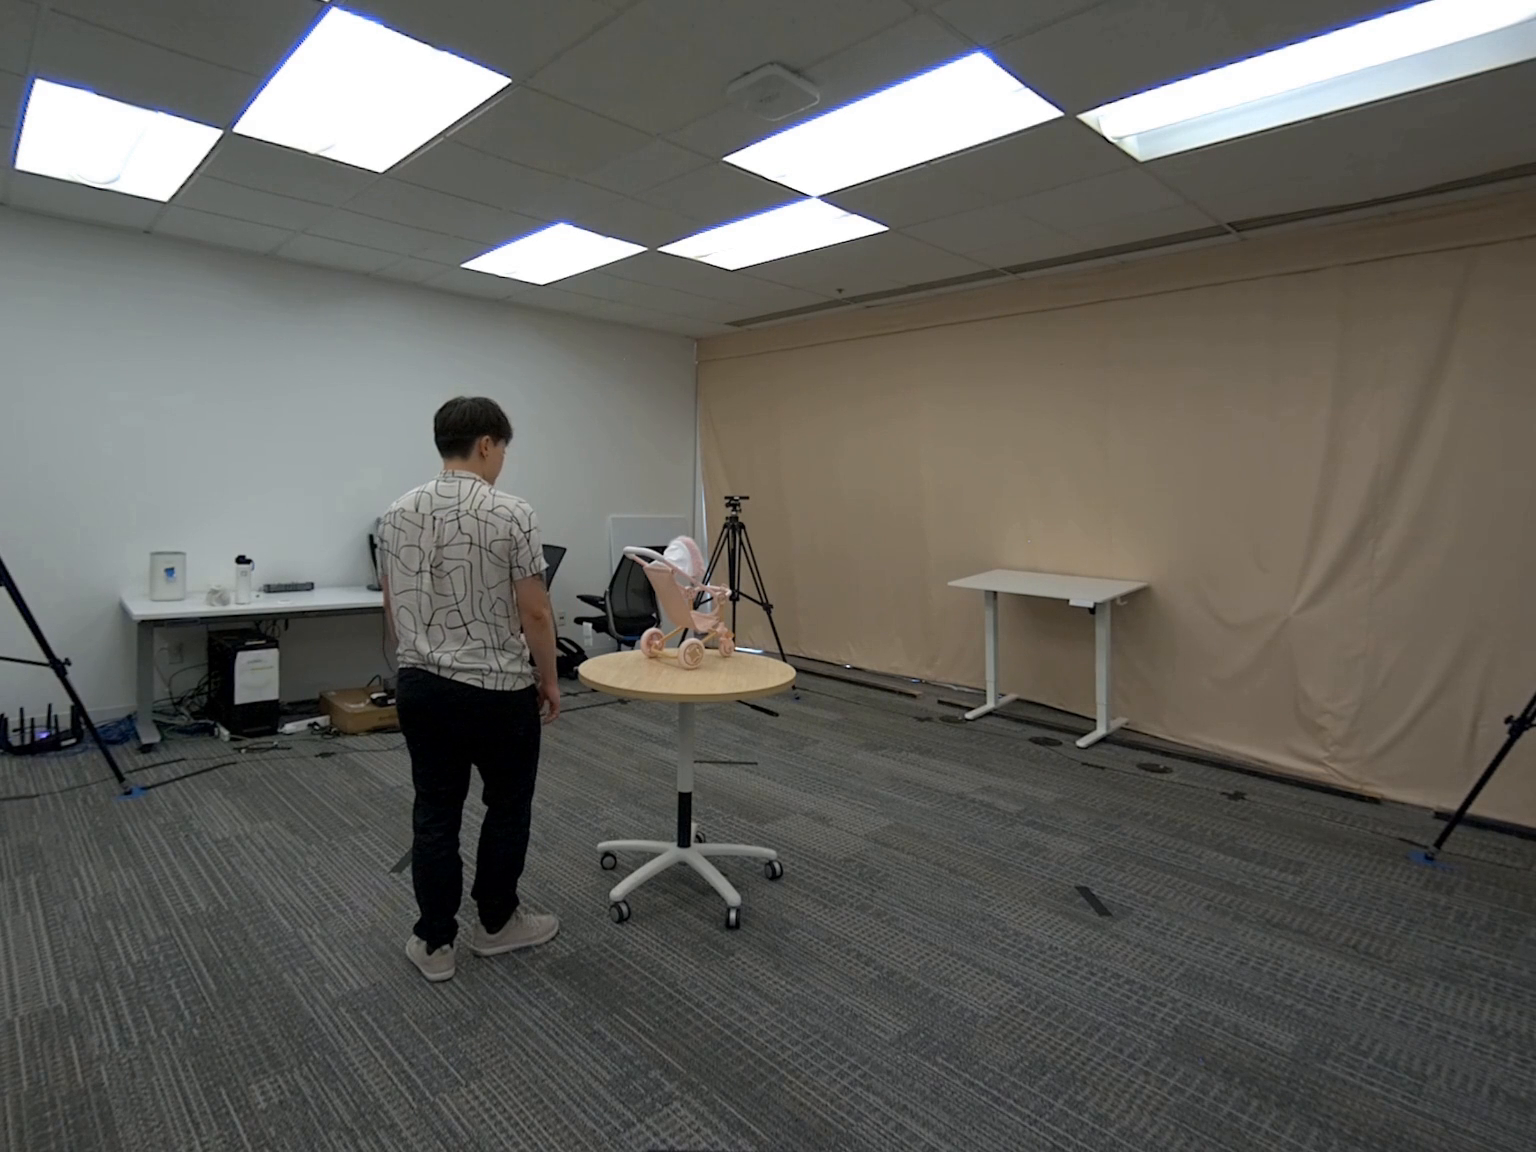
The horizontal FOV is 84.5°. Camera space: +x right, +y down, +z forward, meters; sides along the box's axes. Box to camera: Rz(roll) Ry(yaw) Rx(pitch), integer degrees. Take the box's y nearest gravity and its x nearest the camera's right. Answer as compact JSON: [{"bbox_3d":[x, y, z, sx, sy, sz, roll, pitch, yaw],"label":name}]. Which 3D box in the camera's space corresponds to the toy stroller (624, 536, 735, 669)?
[{"bbox_3d":[-0.302,0.095,3.084,0.337,0.529,0.288,-21,16,-33],"label":"toy stroller"}]
